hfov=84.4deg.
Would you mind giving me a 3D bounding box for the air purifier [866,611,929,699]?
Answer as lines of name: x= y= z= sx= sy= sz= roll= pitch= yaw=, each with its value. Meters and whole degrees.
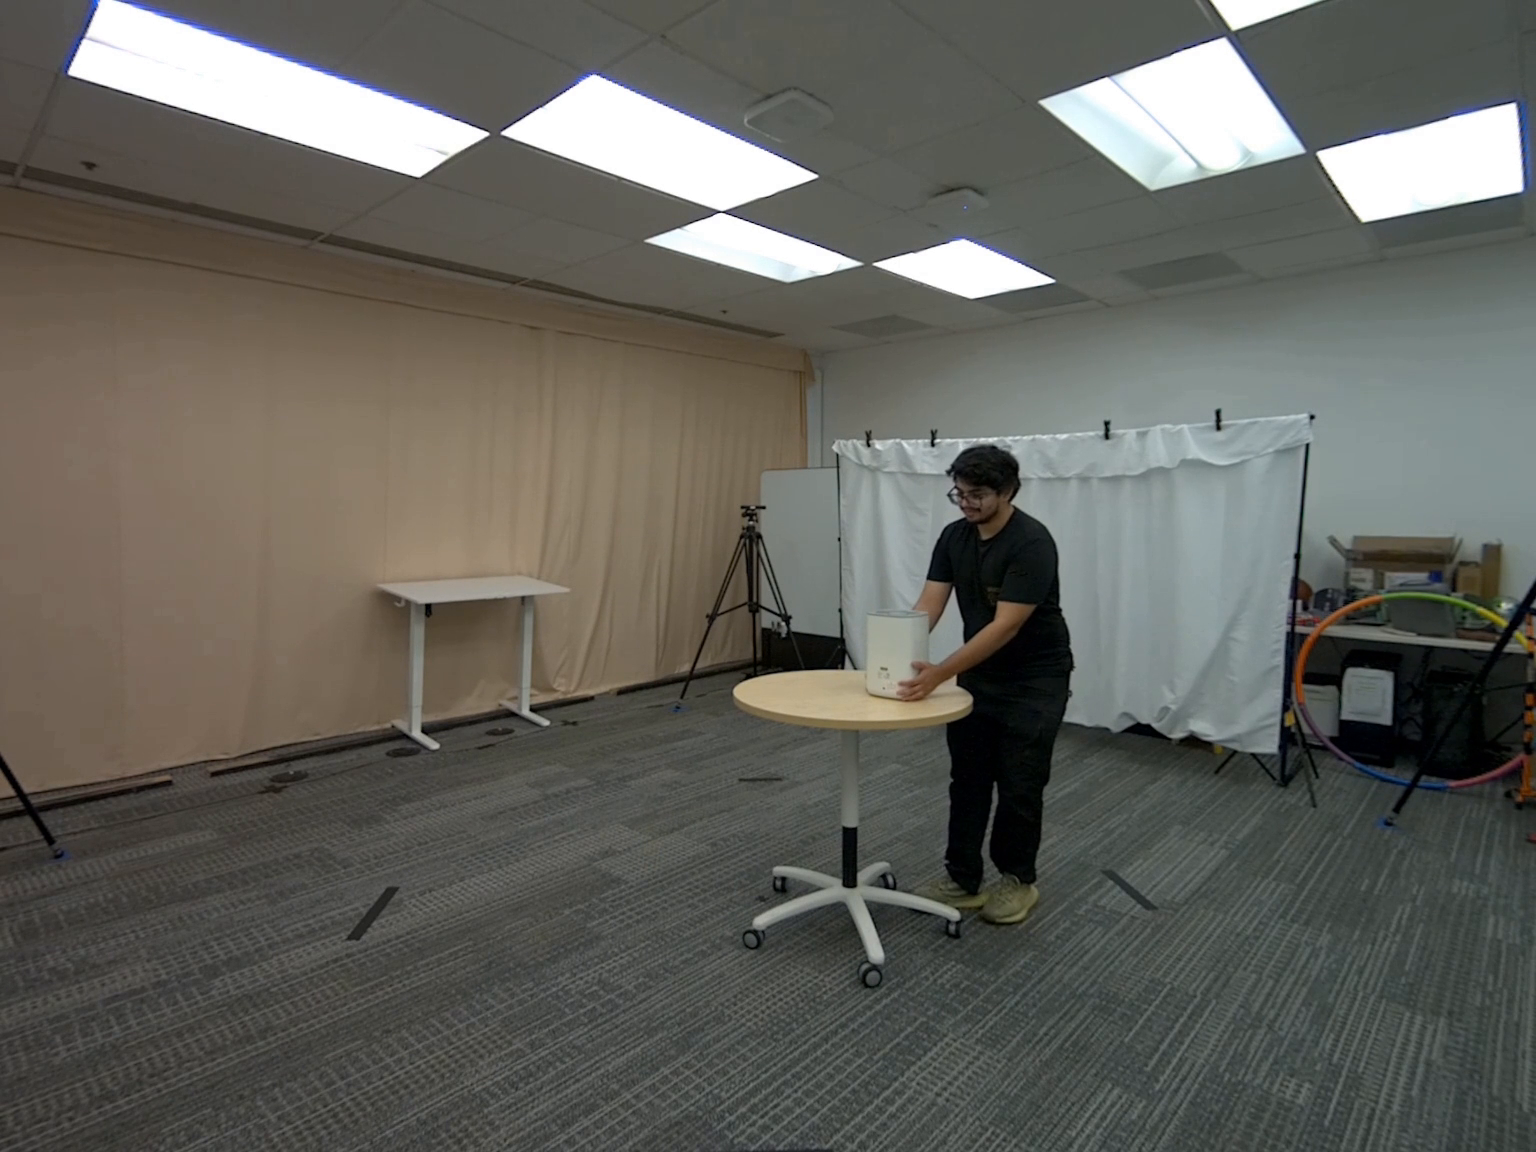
air purifier: x=0.427 y=0.252 z=2.690 sx=0.176 sy=0.265 sz=0.166 roll=3 pitch=4 yaw=37
